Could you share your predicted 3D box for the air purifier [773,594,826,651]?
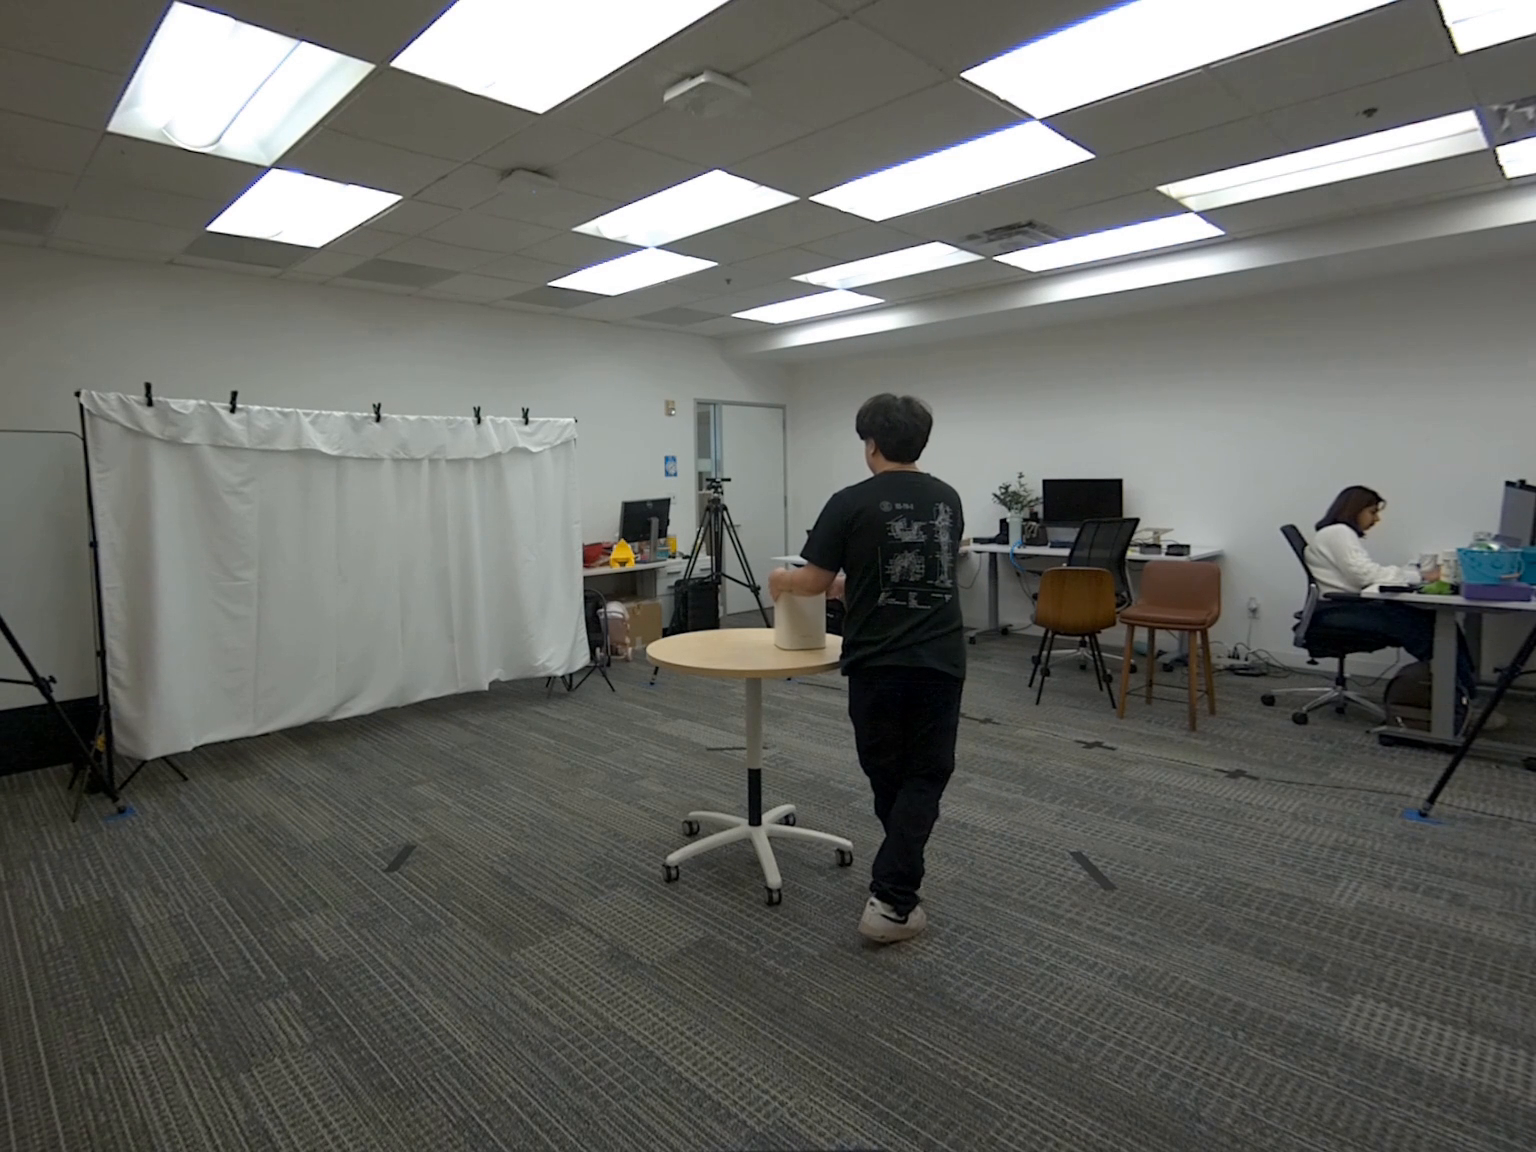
[{"bbox_3d":[0.120,0.122,3.060,0.169,0.264,0.174,0,4,-10],"label":"air purifier"}]
